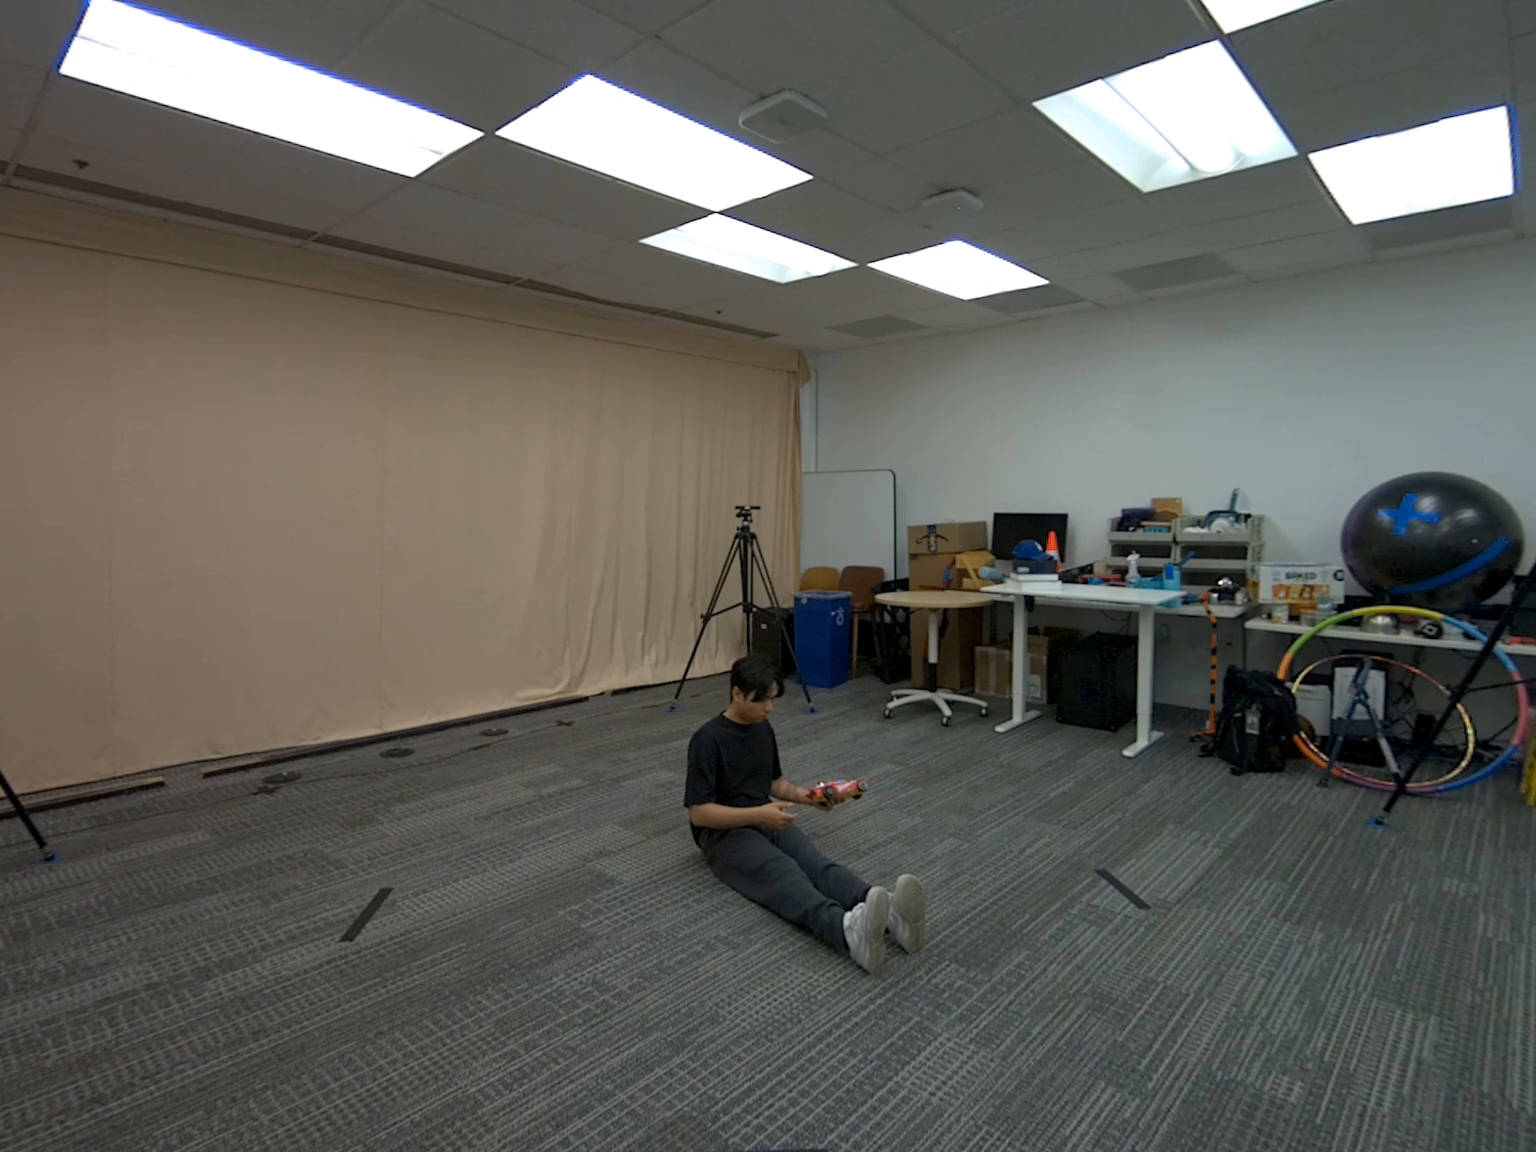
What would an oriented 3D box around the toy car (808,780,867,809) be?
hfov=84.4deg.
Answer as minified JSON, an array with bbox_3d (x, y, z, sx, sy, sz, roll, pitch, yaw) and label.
[{"bbox_3d":[0.284,0.889,3.453,0.253,0.085,0.129,3,-36,-7],"label":"toy car"}]
